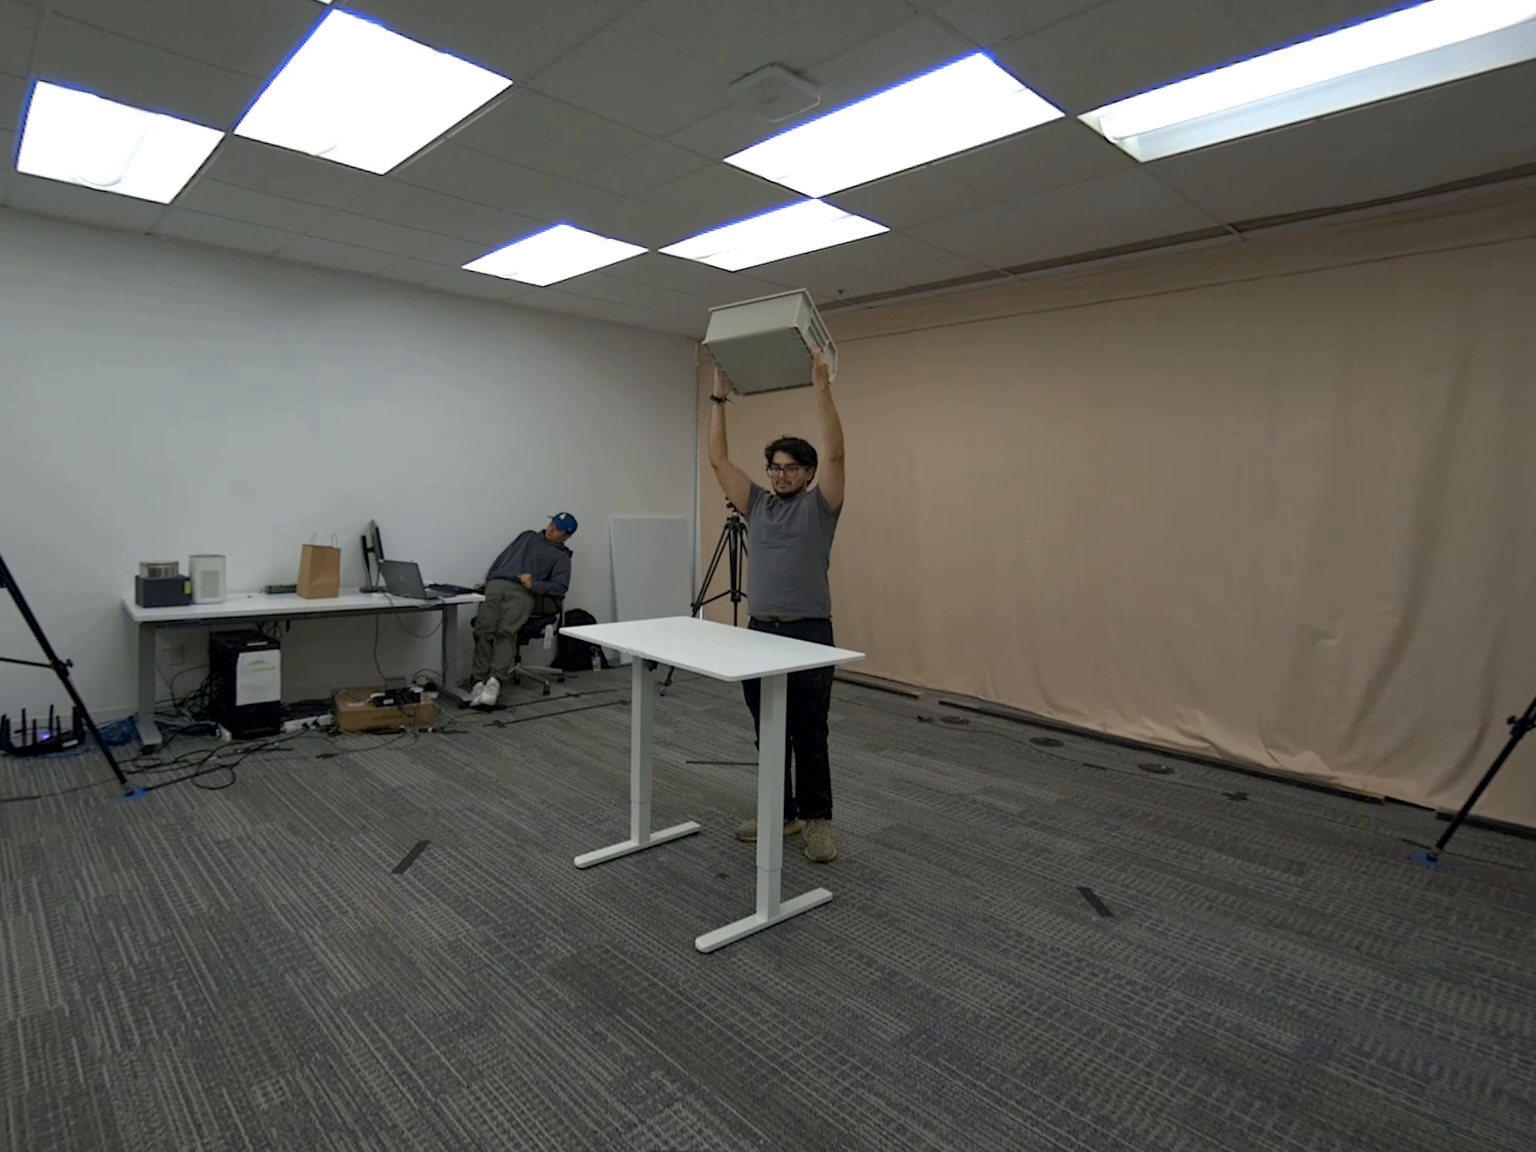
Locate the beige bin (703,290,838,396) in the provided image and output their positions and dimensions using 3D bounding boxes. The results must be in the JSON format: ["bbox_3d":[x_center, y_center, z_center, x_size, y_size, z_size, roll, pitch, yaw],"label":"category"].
[{"bbox_3d":[0.003,-0.893,3.323,0.431,0.191,0.365,-1,-29,29],"label":"beige bin"}]
